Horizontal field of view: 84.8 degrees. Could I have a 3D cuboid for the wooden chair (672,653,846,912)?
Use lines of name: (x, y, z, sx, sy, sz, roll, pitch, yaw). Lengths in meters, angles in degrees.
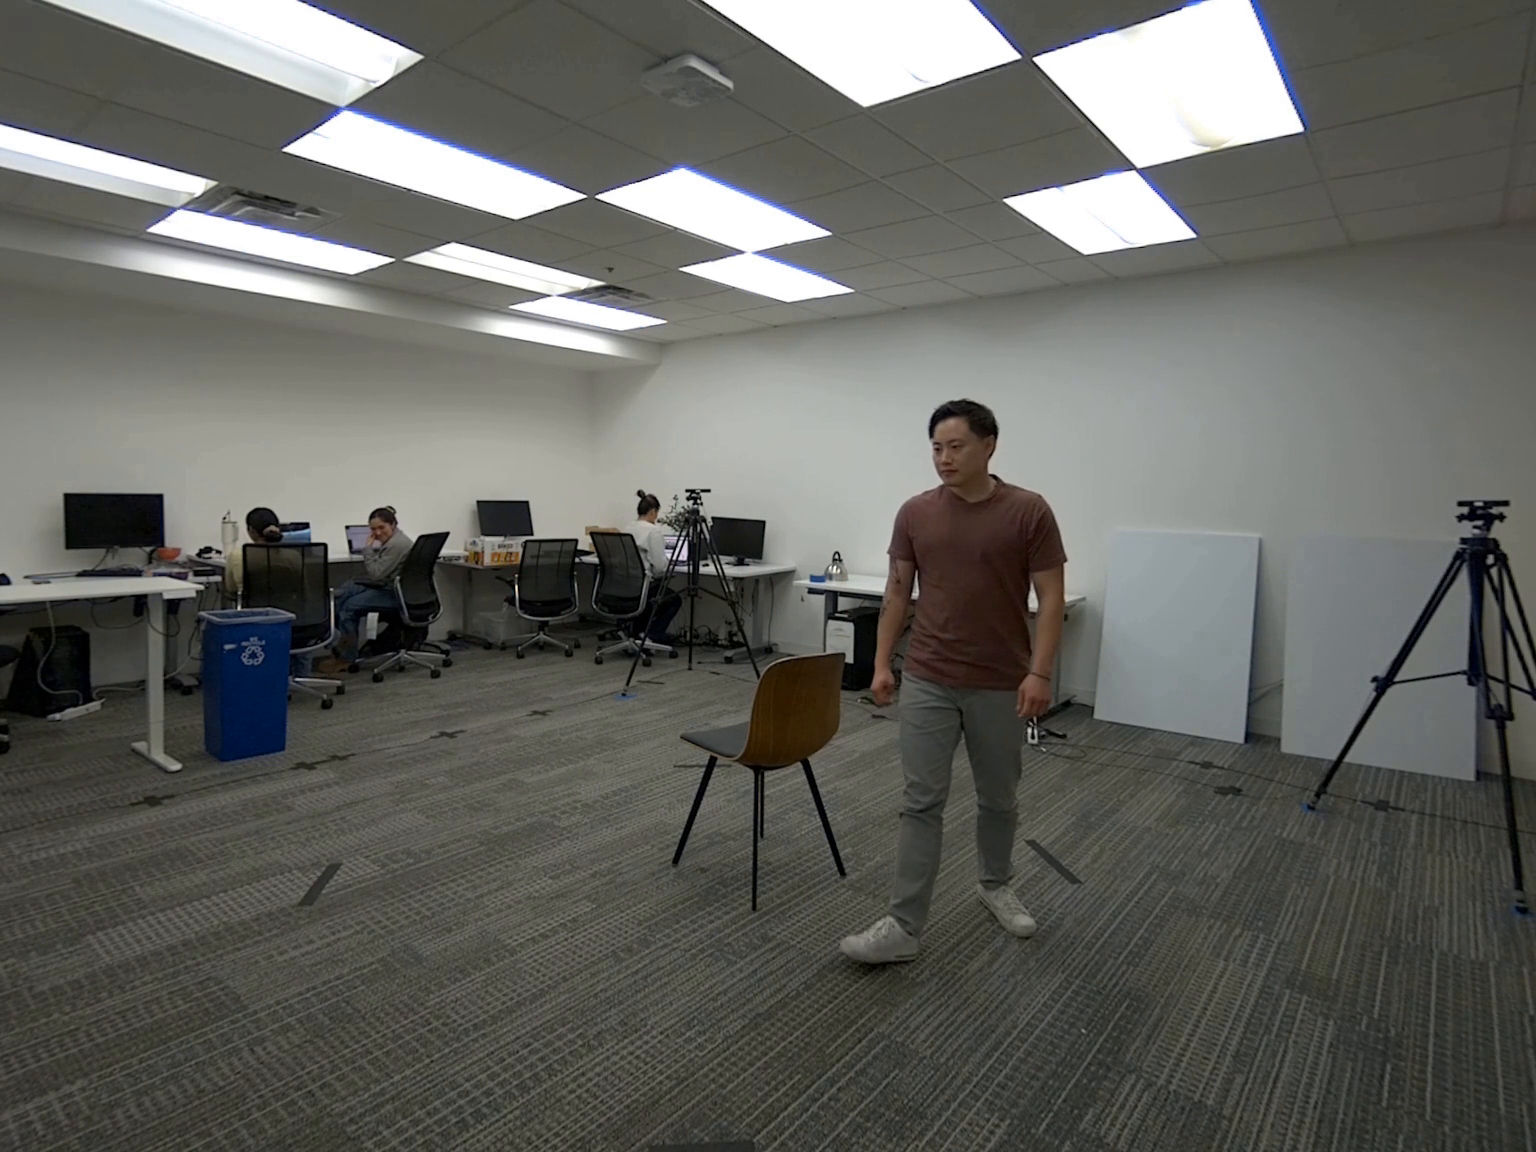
wooden chair: (-0.038, 0.651, 3.099, 0.463, 0.872, 0.542, -1, 9, -42)
